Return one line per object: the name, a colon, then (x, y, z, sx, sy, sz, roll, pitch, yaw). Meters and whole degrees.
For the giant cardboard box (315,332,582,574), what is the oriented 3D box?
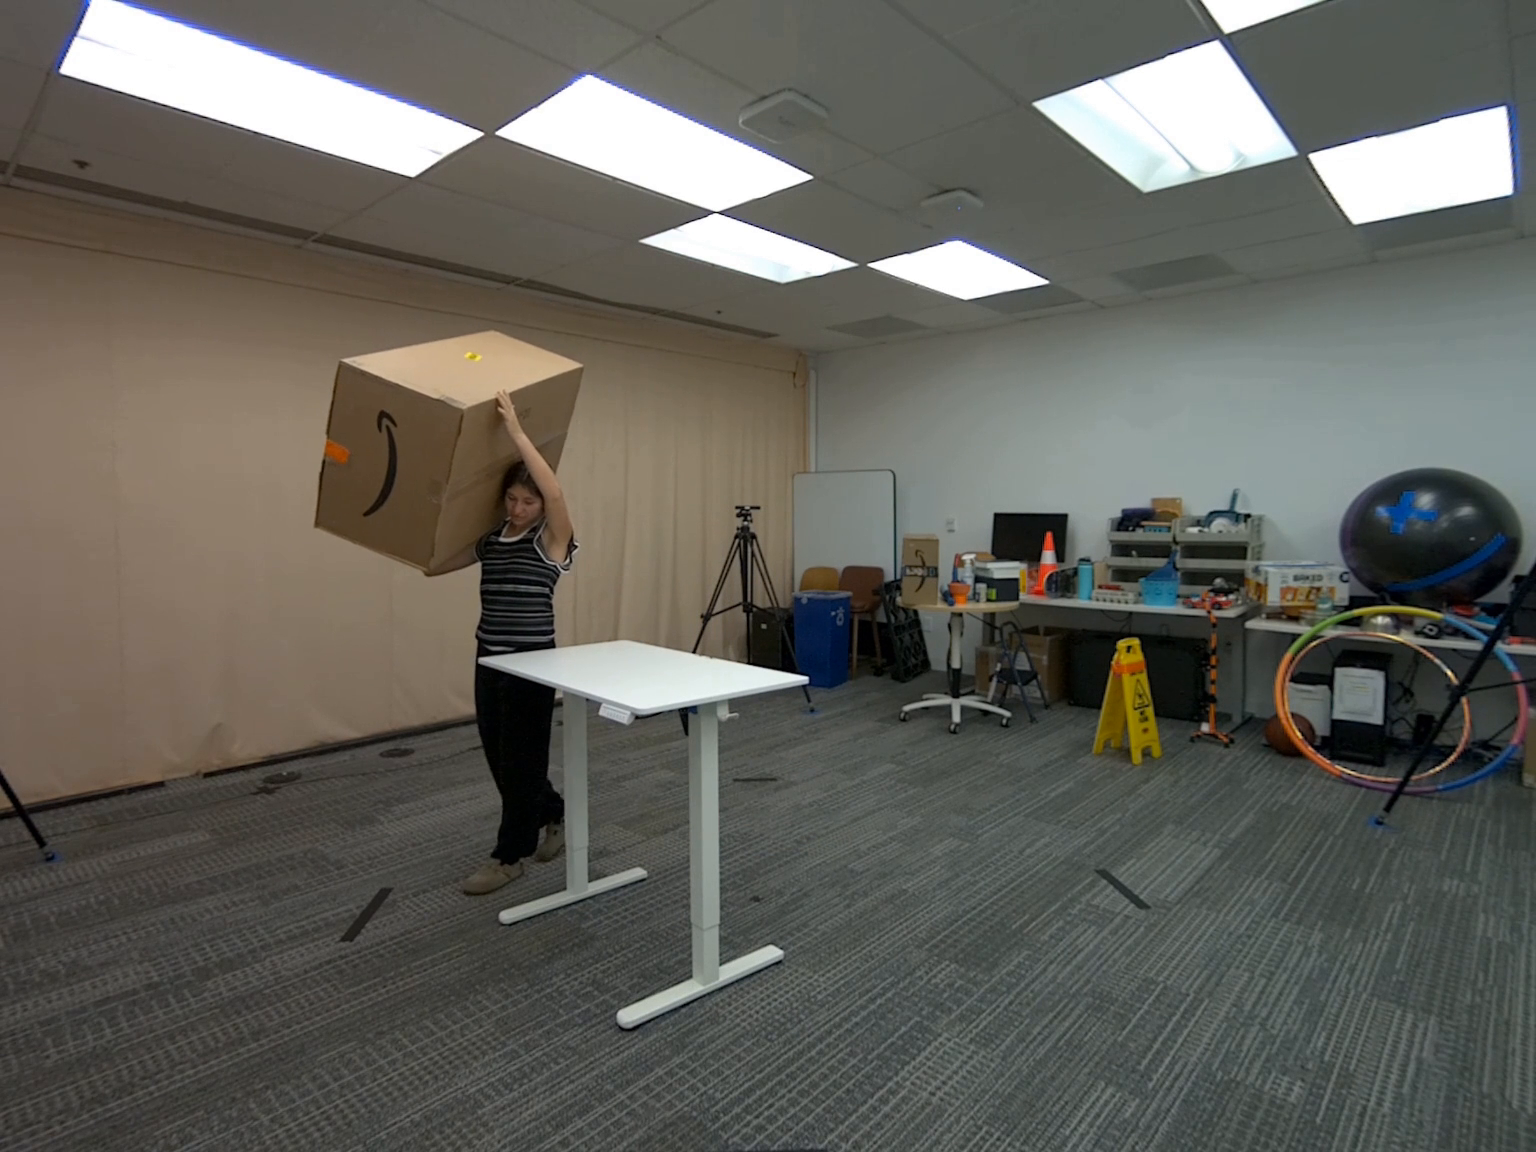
giant cardboard box: (-1.122, -0.510, 3.114, 0.428, 0.575, 1.026, 22, 23, 2)
